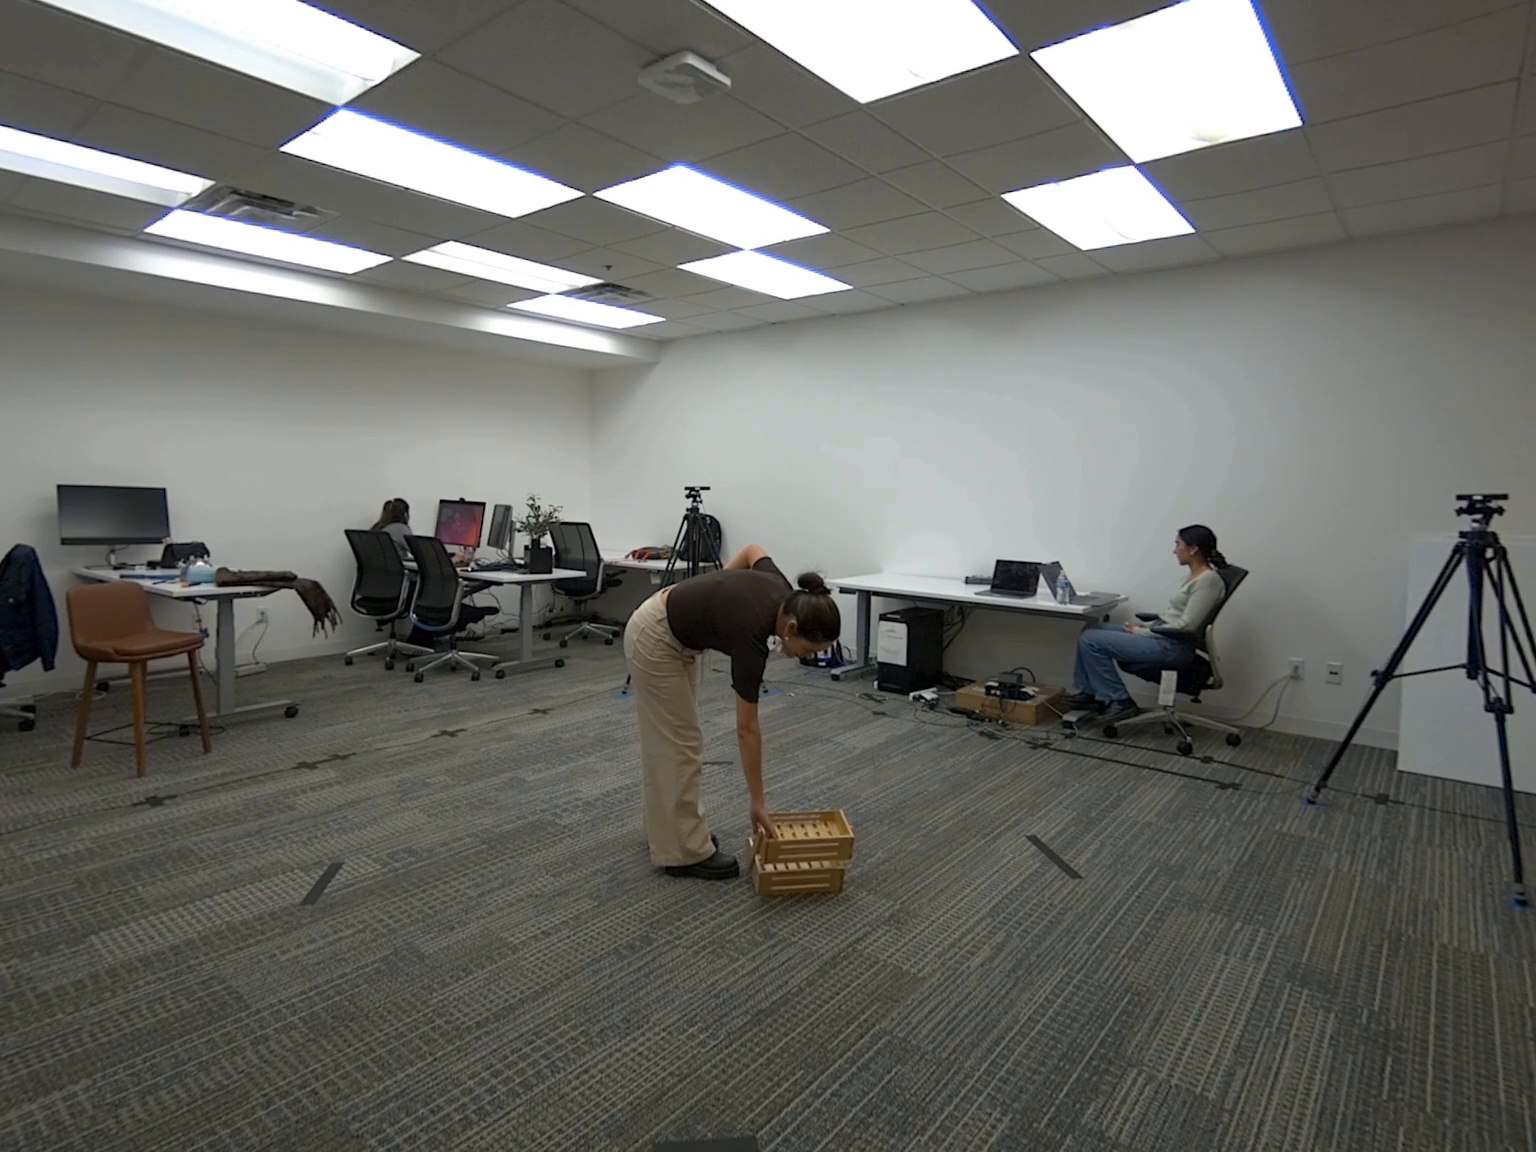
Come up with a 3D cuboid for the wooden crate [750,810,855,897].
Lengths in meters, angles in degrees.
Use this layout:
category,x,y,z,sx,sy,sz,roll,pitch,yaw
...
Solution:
category,x,y,z,sx,sy,sz,roll,pitch,yaw
wooden crate,0.097,0.934,2.977,0.321,0.269,0.310,0,19,-10
